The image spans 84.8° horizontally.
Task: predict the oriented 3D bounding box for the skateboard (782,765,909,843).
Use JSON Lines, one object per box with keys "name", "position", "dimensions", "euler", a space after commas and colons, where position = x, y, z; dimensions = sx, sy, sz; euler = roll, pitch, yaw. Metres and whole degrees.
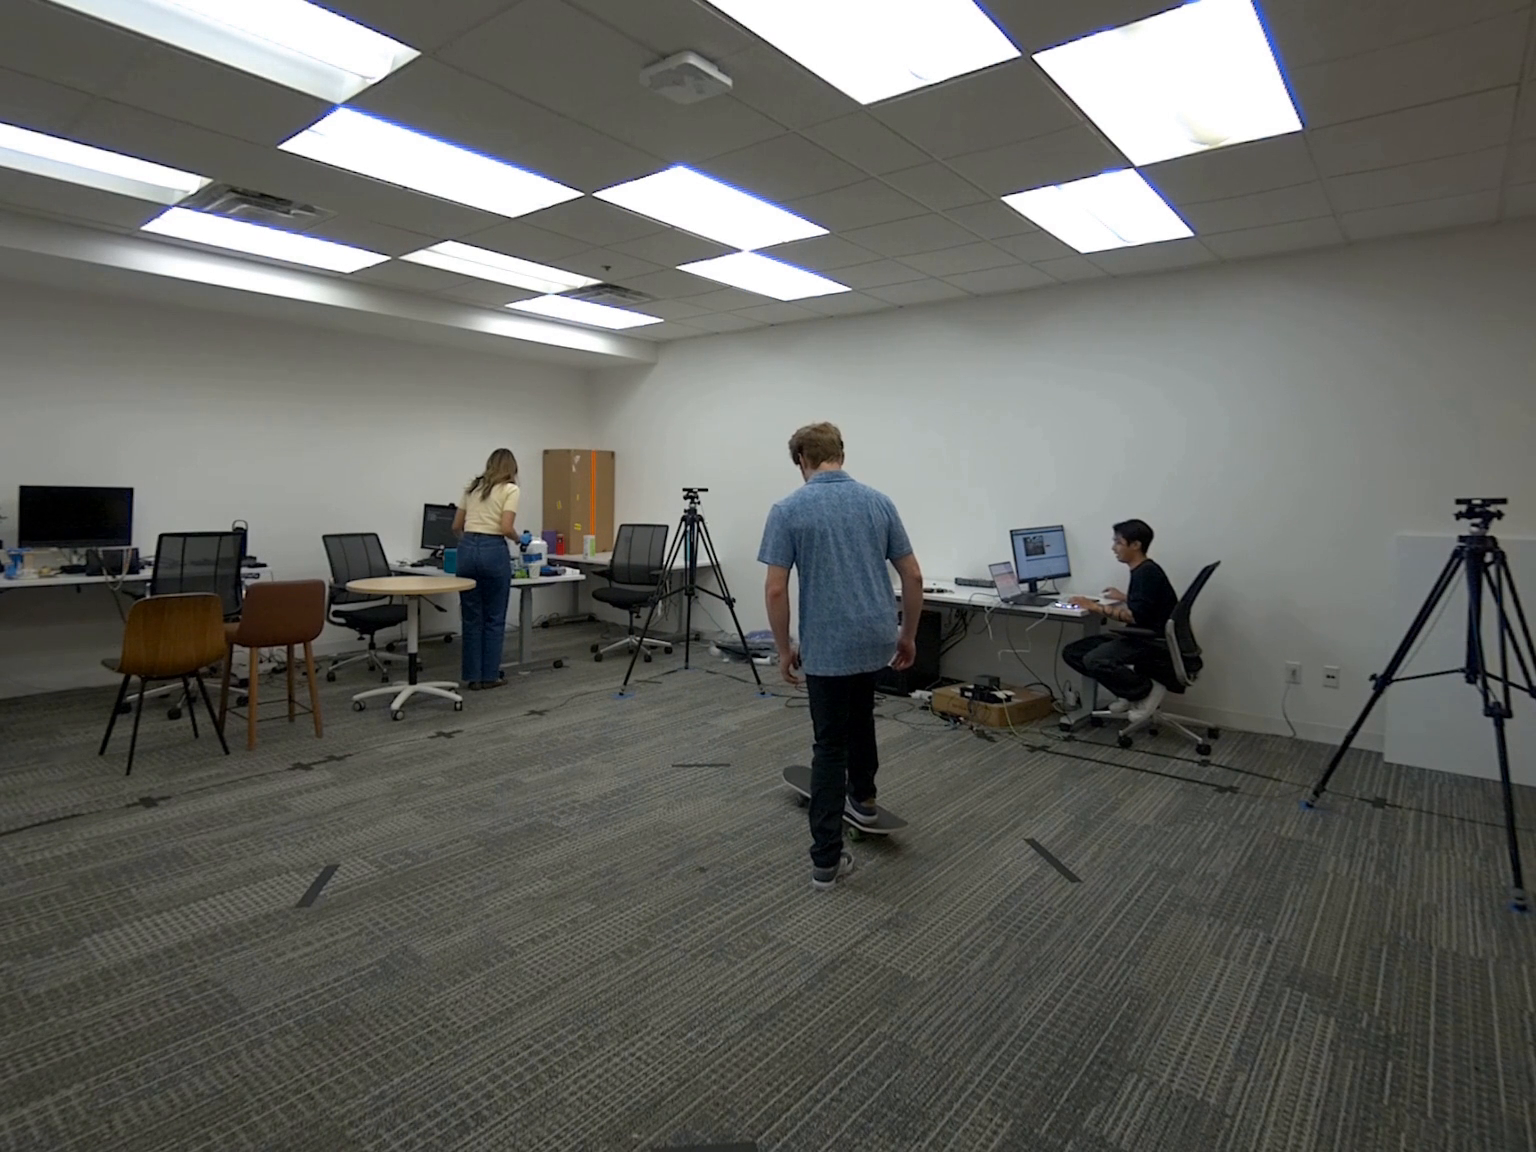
{"name": "skateboard", "position": [0.299, 0.970, 3.610], "dimensions": [0.189, 0.110, 0.809], "euler": [-3, 7, -29]}
